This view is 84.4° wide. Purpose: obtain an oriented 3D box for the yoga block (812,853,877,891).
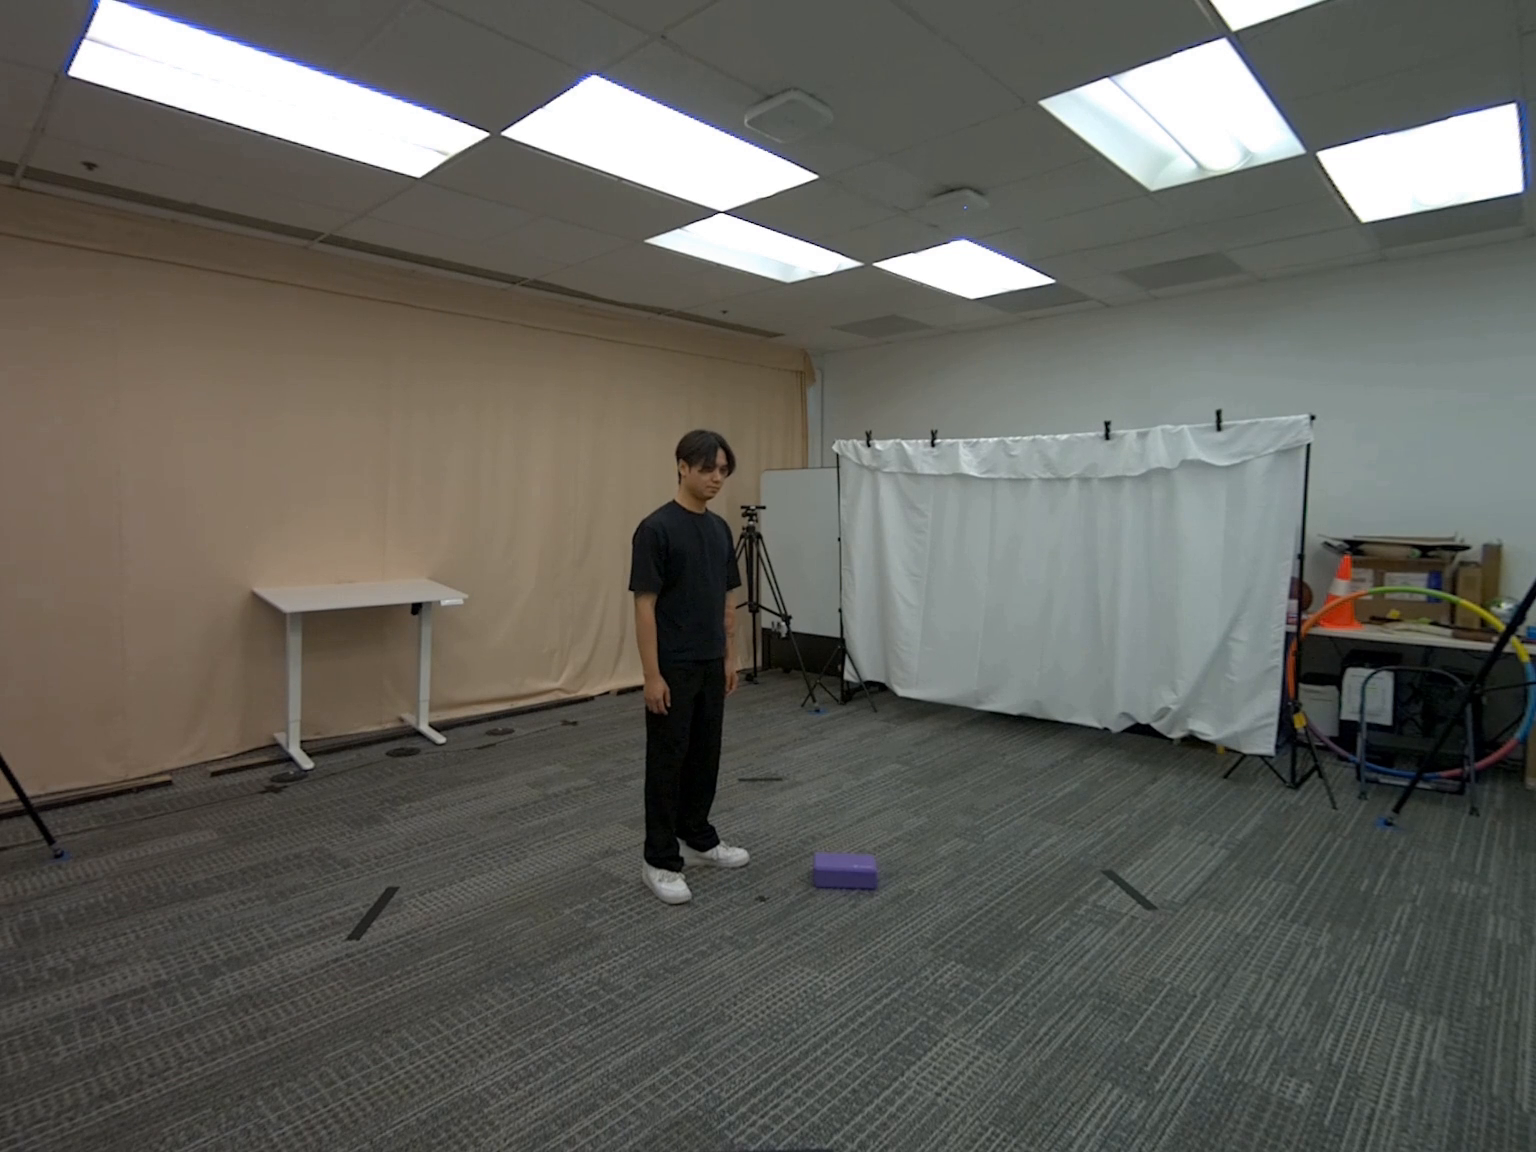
[{"bbox_3d":[0.287,1.093,3.115,0.231,0.076,0.149,1,7,5],"label":"yoga block"}]
